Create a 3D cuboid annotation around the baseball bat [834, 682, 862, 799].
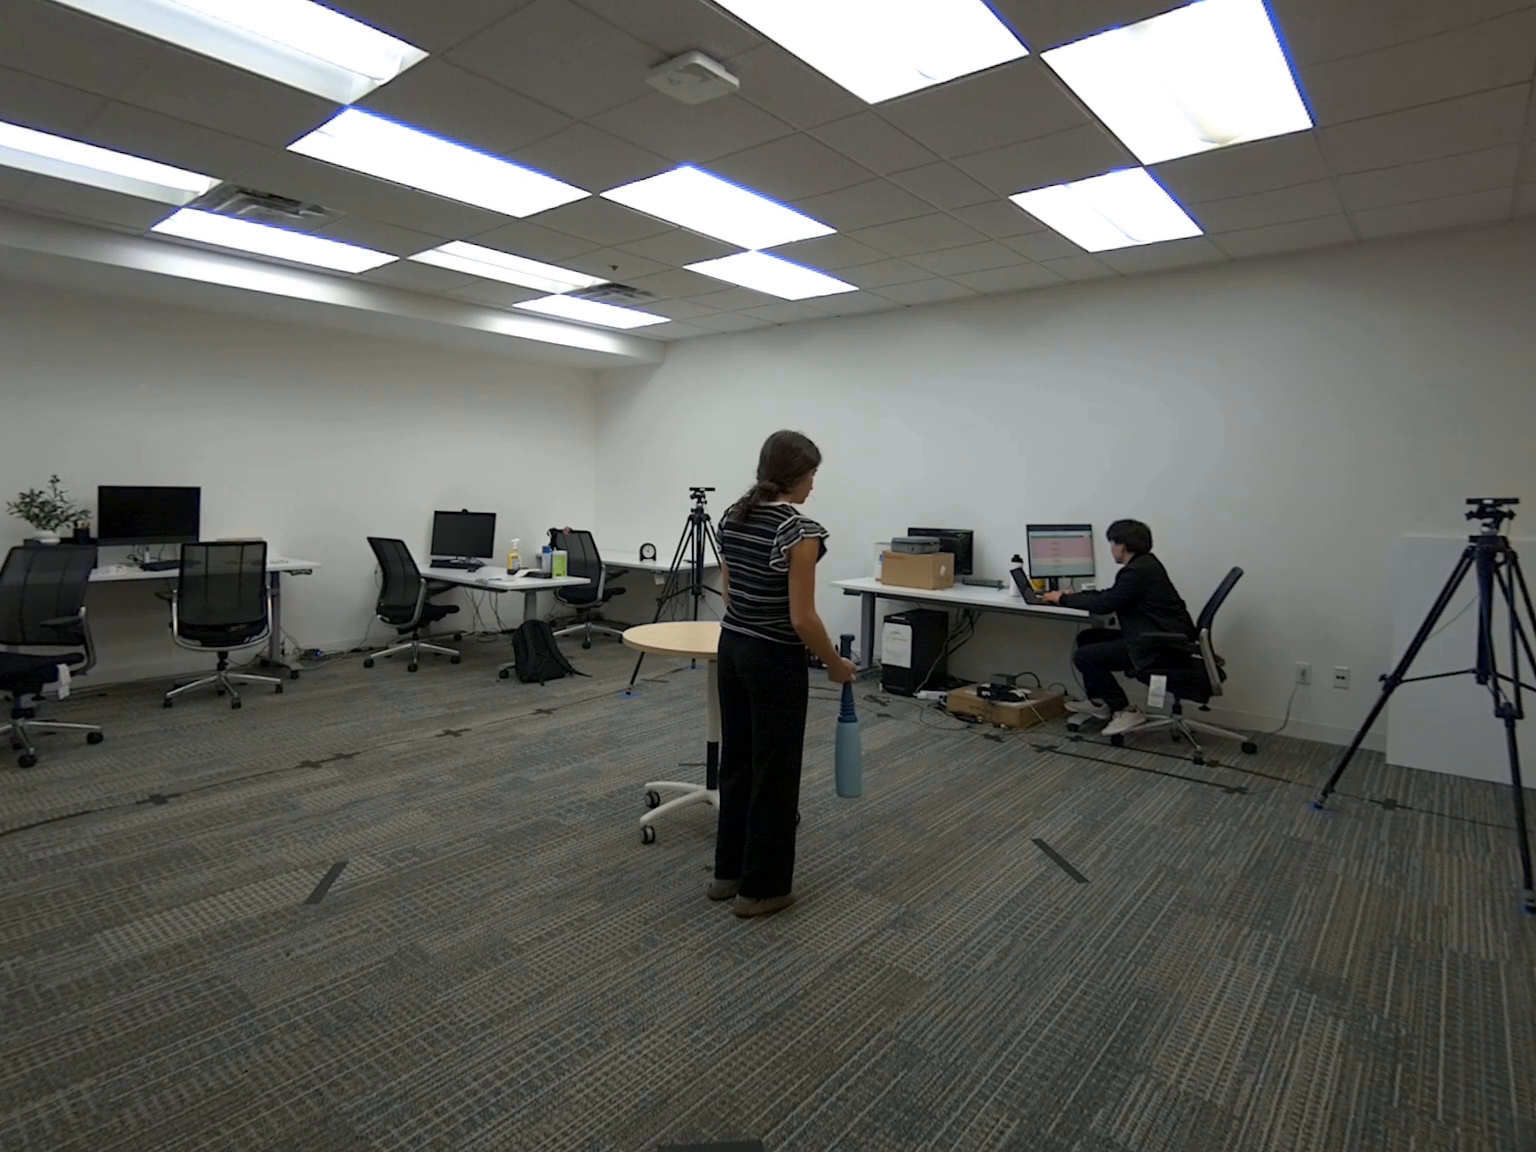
[{"bbox_3d":[0.259,0.476,2.850,0.089,0.544,0.089,0,-3,-2],"label":"baseball bat"}]
